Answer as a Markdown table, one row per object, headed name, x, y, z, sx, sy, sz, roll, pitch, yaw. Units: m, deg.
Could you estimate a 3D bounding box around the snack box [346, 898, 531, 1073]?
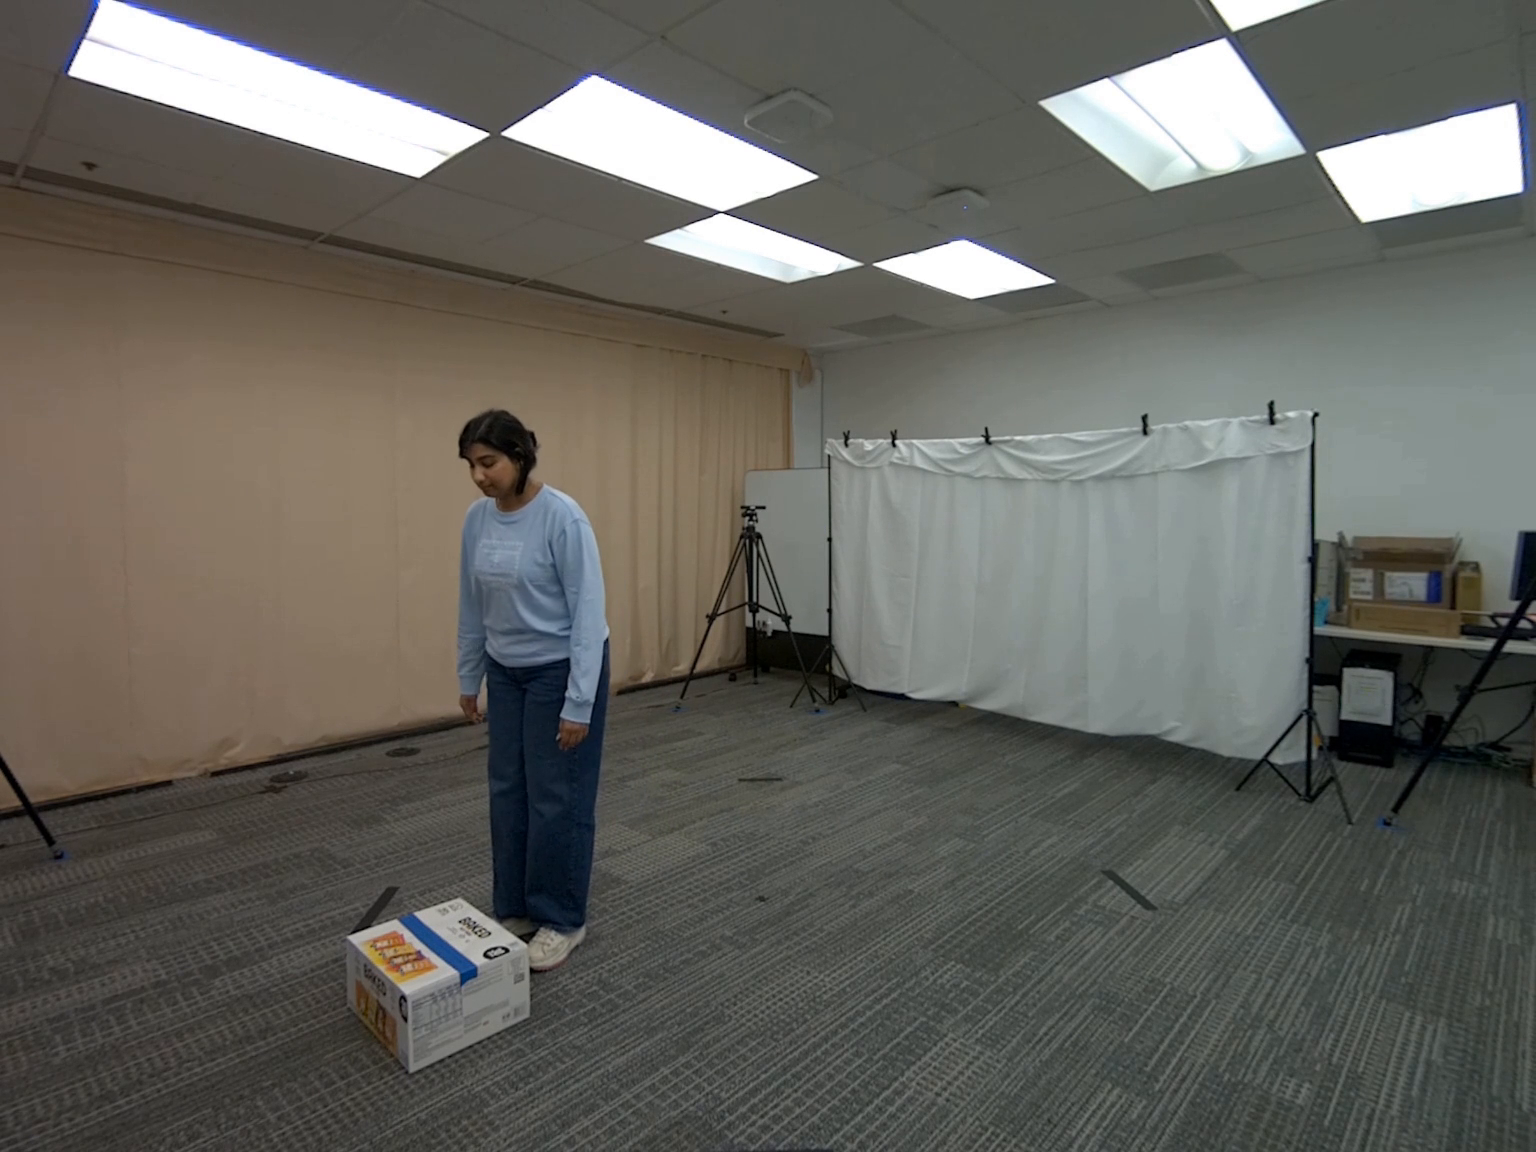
| name | x | y | z | sx | sy | sz | roll | pitch | yaw |
| --- | --- | --- | --- | --- | --- | --- | --- | --- | --- |
| snack box | -0.911 | 1.103 | 2.314 | 0.418 | 0.205 | 0.330 | 3 | 6 | 45 |
